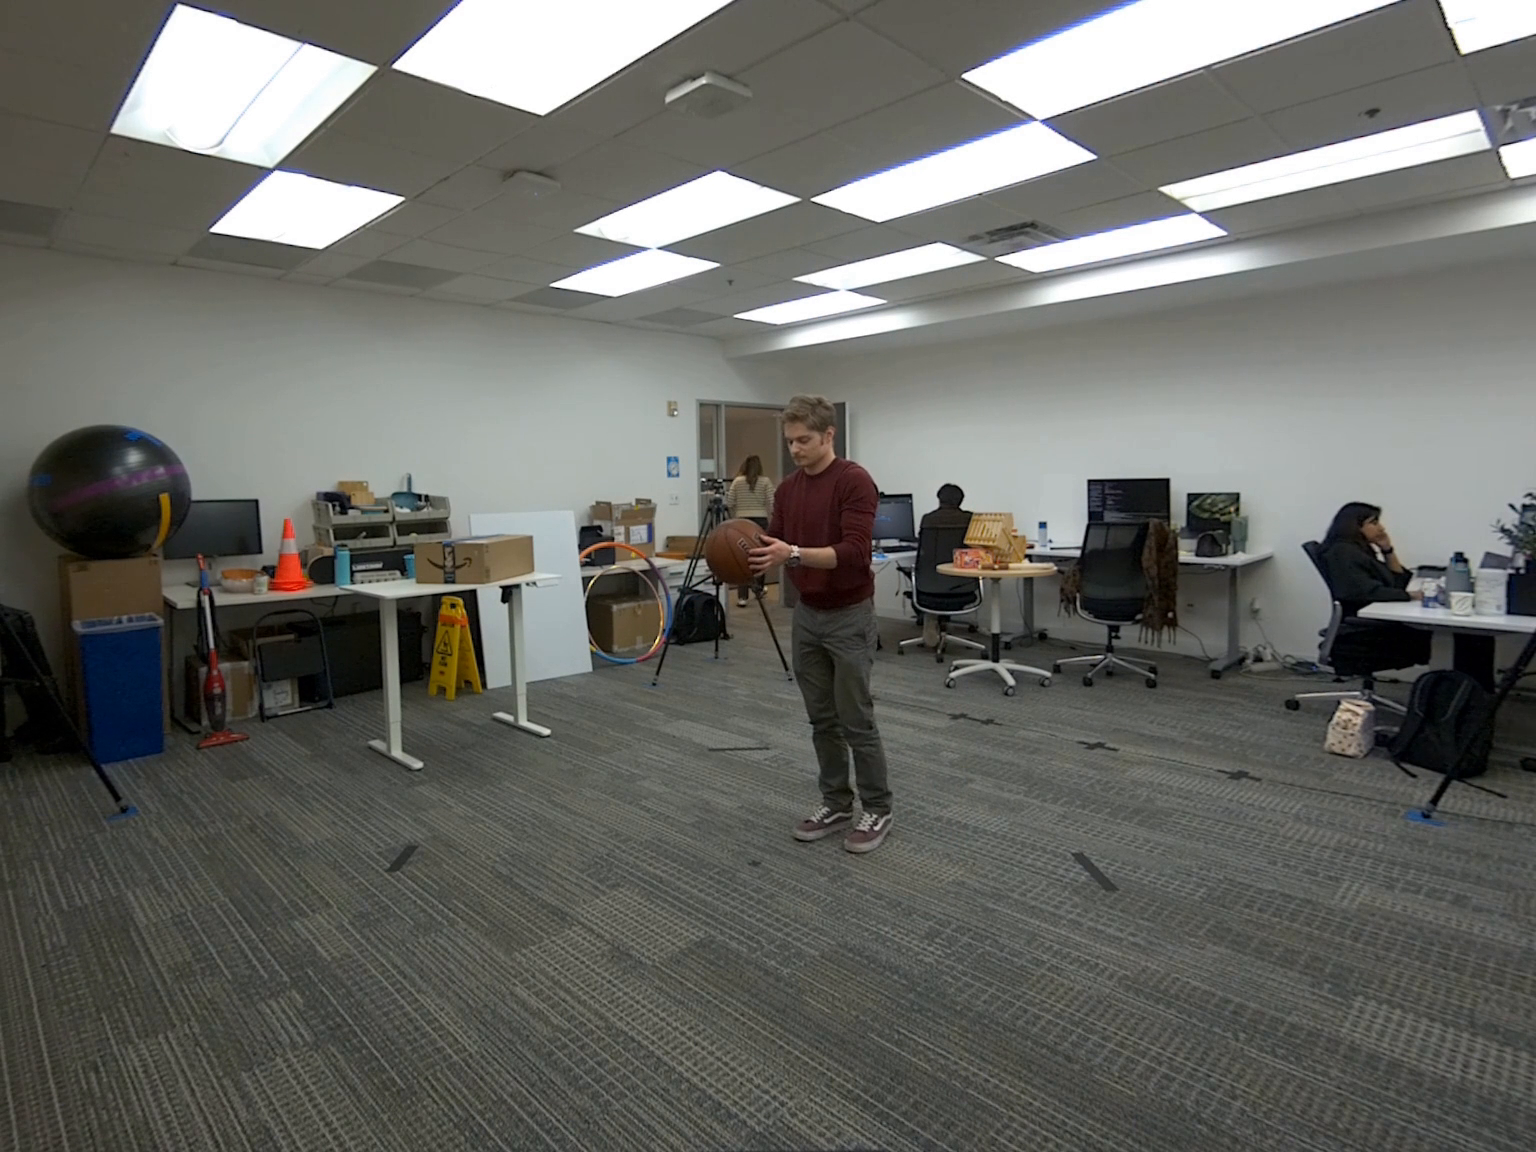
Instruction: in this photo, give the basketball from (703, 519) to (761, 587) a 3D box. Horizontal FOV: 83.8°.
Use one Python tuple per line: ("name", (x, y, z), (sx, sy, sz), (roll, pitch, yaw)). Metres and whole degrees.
("basketball", (-0.105, -0.088, 3.043), (0.236, 0.235, 0.237), (-1, 5, -2))
